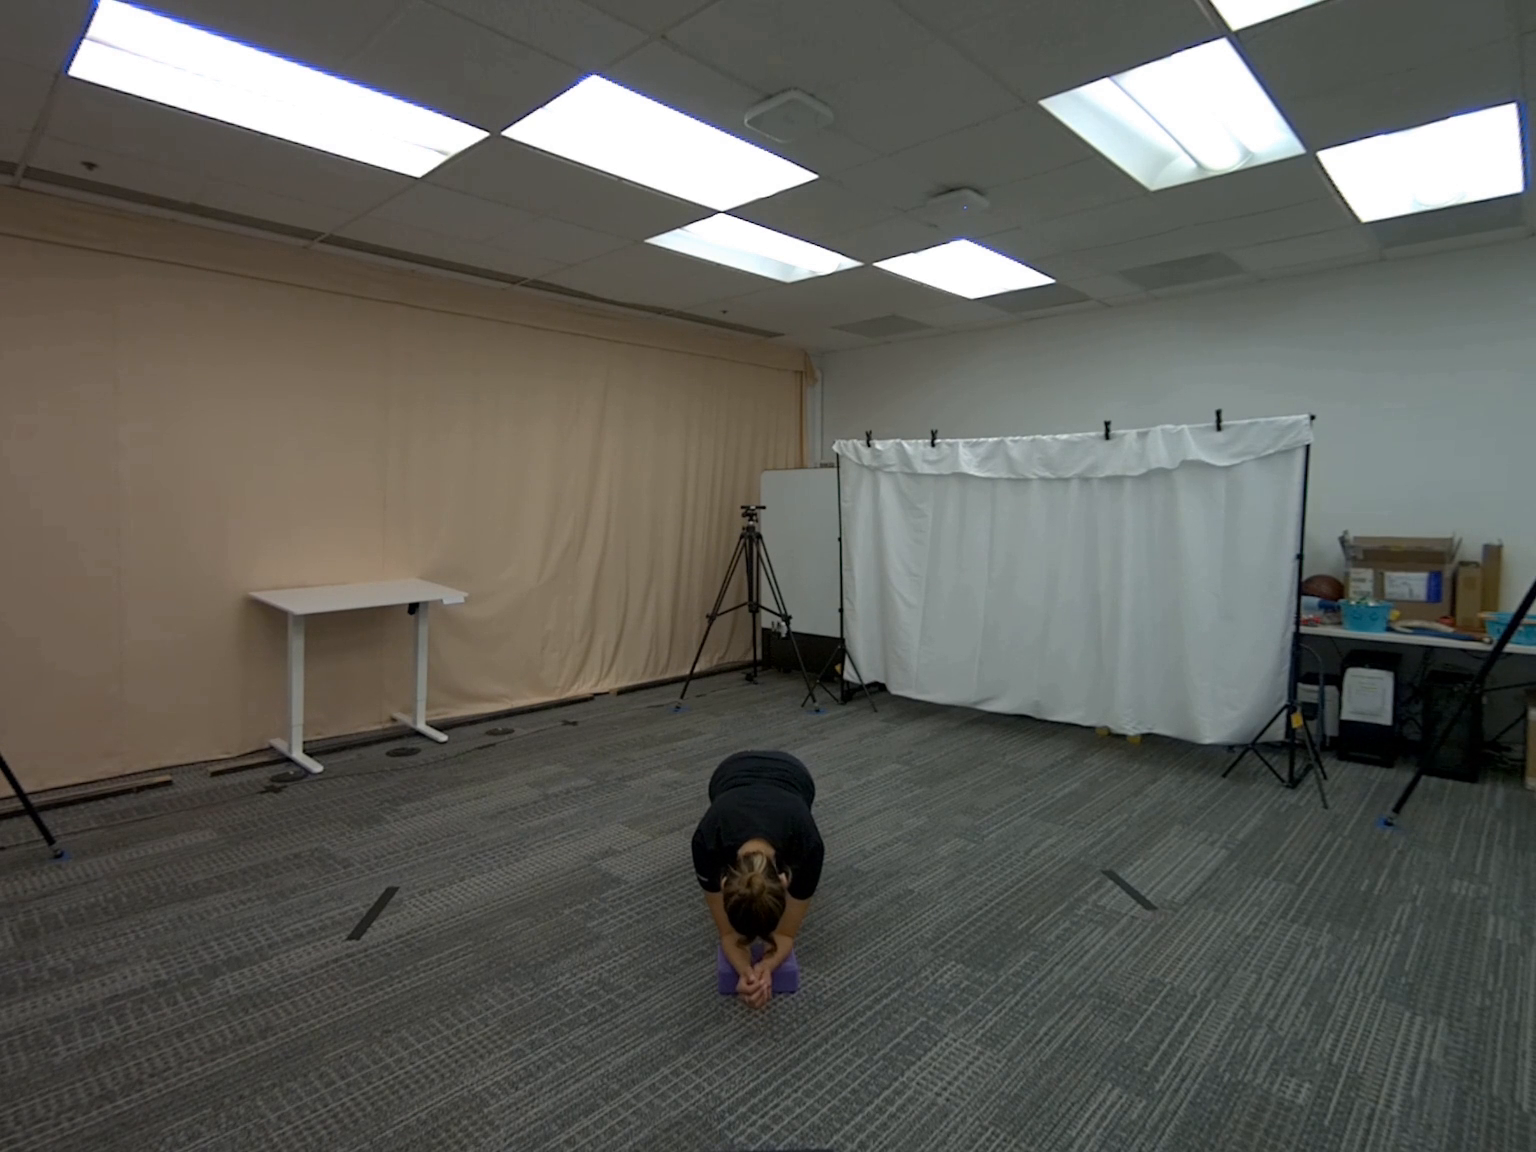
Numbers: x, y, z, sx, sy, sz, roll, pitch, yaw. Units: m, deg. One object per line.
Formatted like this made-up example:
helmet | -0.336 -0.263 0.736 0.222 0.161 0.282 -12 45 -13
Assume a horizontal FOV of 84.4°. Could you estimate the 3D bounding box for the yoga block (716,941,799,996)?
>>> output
yoga block | -0.031 1.141 2.471 0.229 0.076 0.149 0 6 -1
